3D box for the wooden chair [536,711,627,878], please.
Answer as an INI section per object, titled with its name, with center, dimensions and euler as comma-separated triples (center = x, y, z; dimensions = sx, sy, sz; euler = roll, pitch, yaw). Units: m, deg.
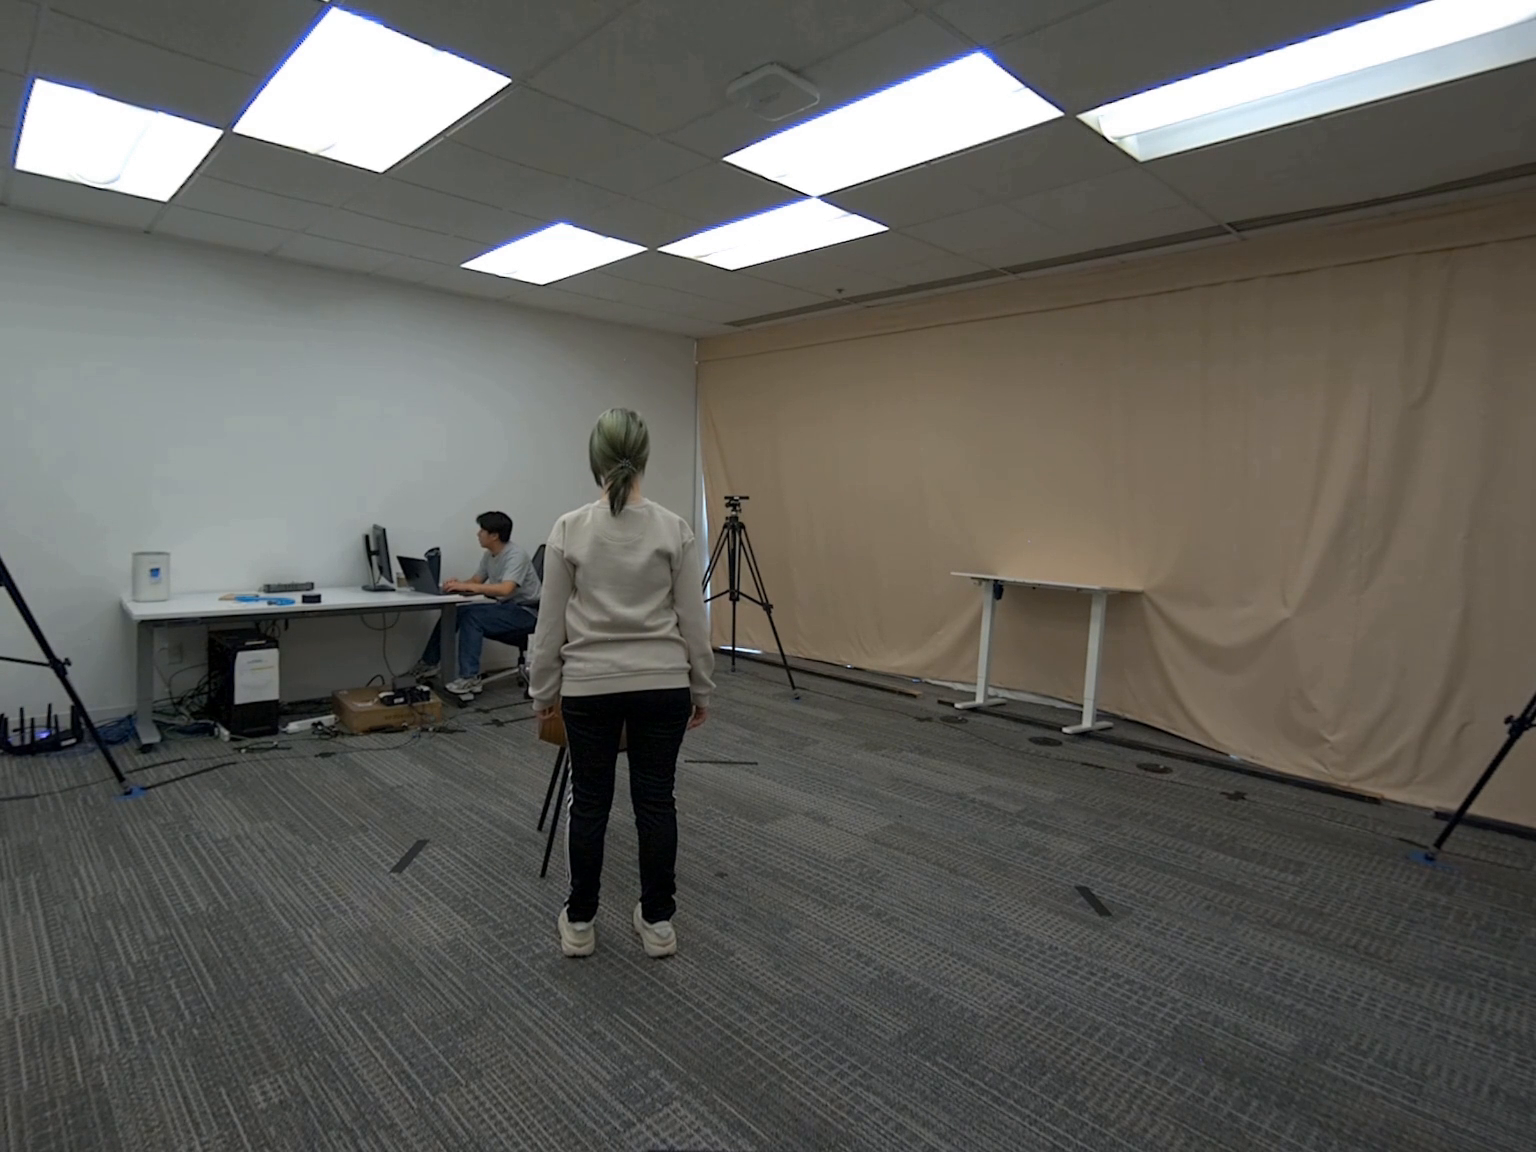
[wooden chair]
center = -0.662, 0.653, 3.294
dimensions = 0.472, 0.873, 0.532
euler = 0, 8, -16
